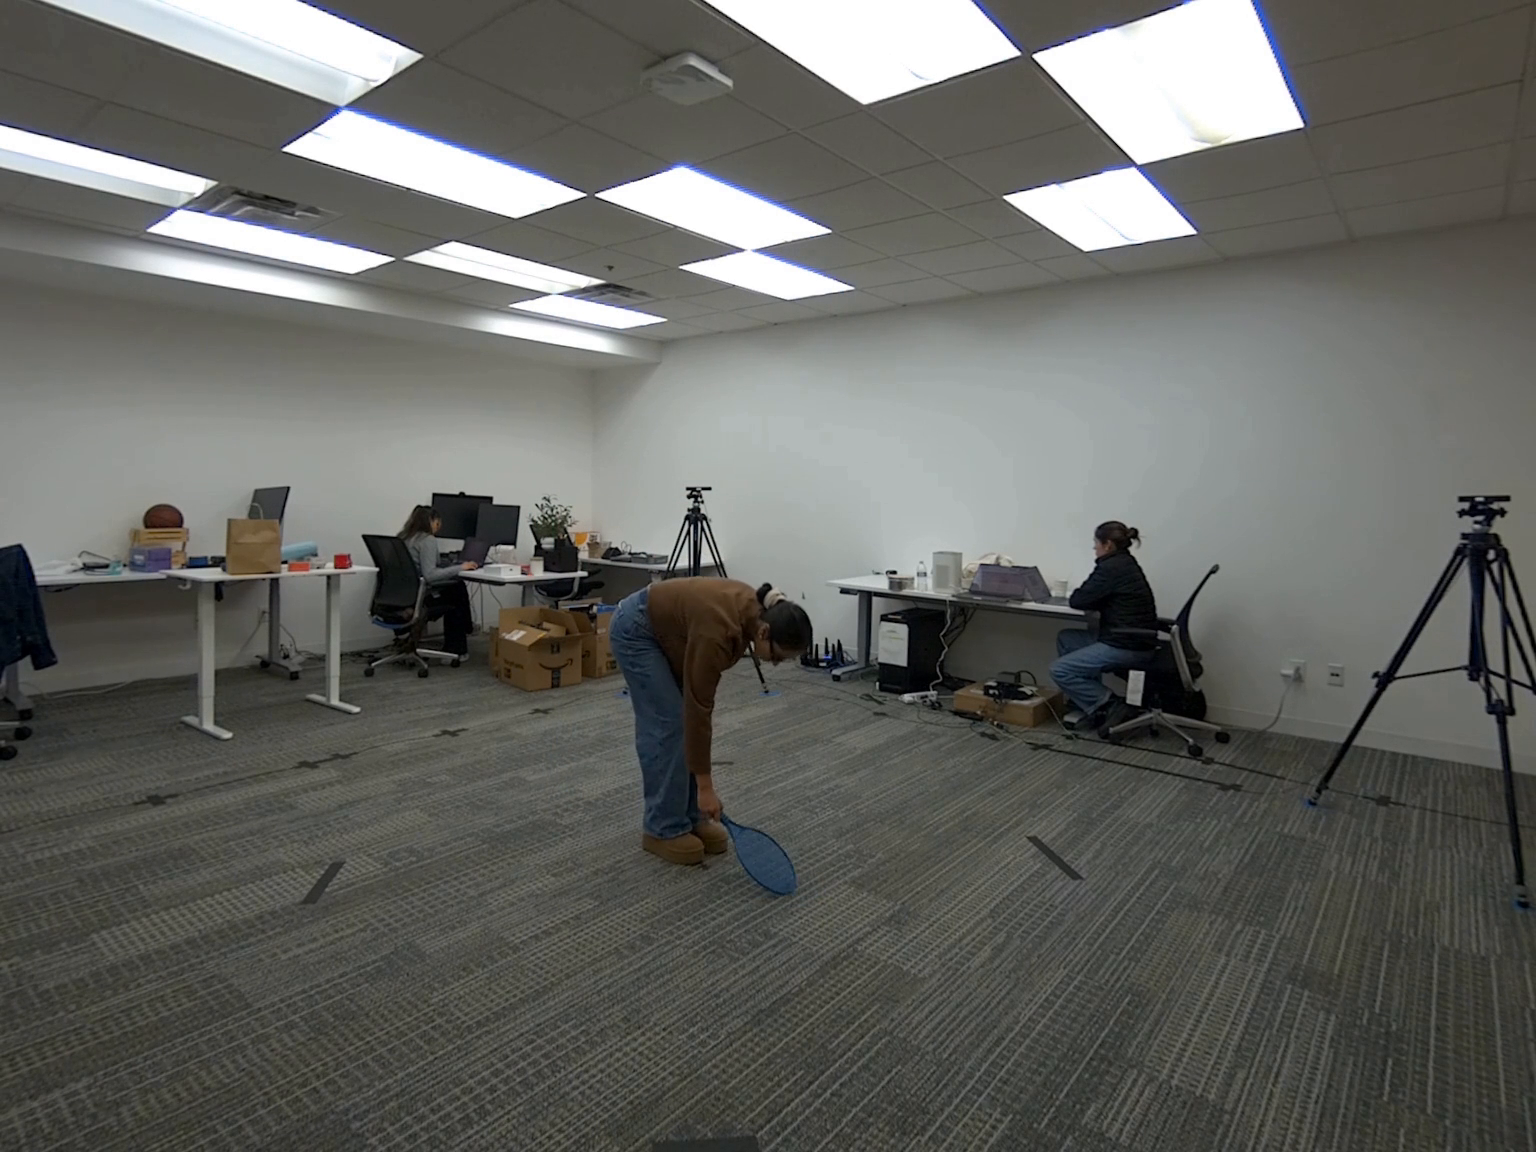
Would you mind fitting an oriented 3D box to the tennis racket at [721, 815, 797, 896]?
[{"bbox_3d":[-0.089,0.932,2.989,0.441,0.031,0.211,41,27,12],"label":"tennis racket"}]
